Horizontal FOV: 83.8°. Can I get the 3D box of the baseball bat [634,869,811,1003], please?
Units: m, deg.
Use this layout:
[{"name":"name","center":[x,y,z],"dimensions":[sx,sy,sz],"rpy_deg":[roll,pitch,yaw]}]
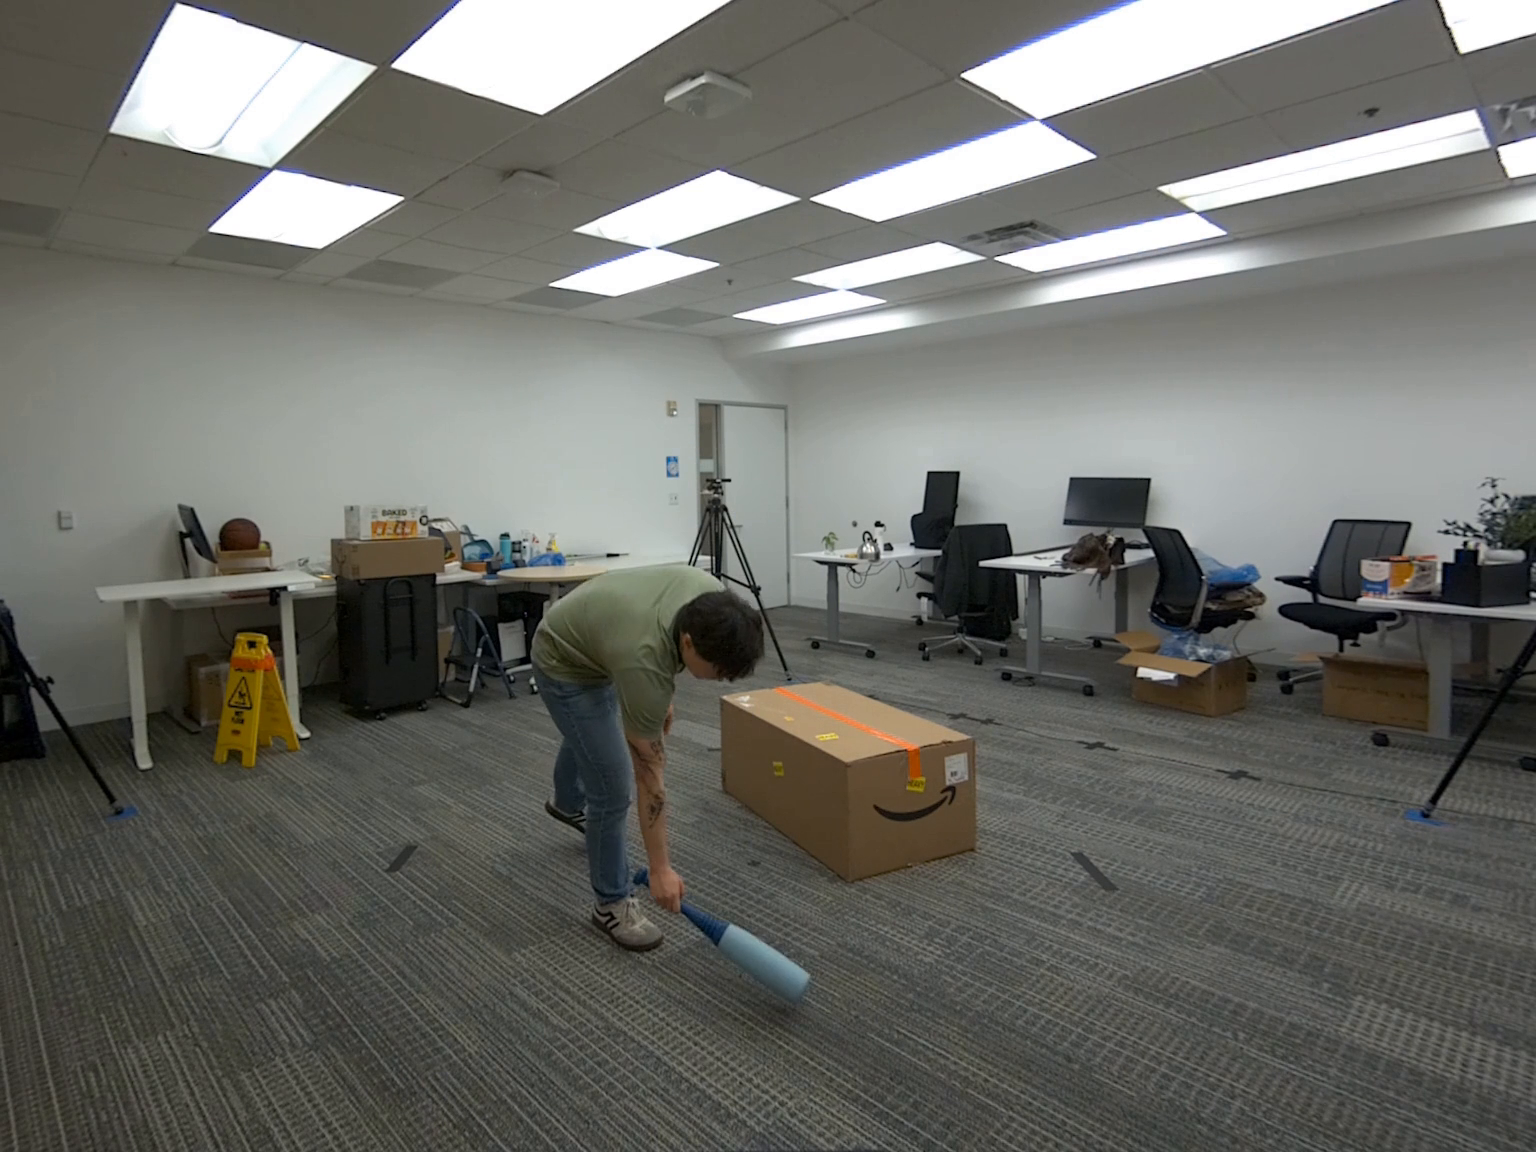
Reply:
[{"name":"baseball bat","center":[-0.141,0.963,2.318],"dimensions":[0.556,0.088,0.087],"rpy_deg":[28,14,18]}]
